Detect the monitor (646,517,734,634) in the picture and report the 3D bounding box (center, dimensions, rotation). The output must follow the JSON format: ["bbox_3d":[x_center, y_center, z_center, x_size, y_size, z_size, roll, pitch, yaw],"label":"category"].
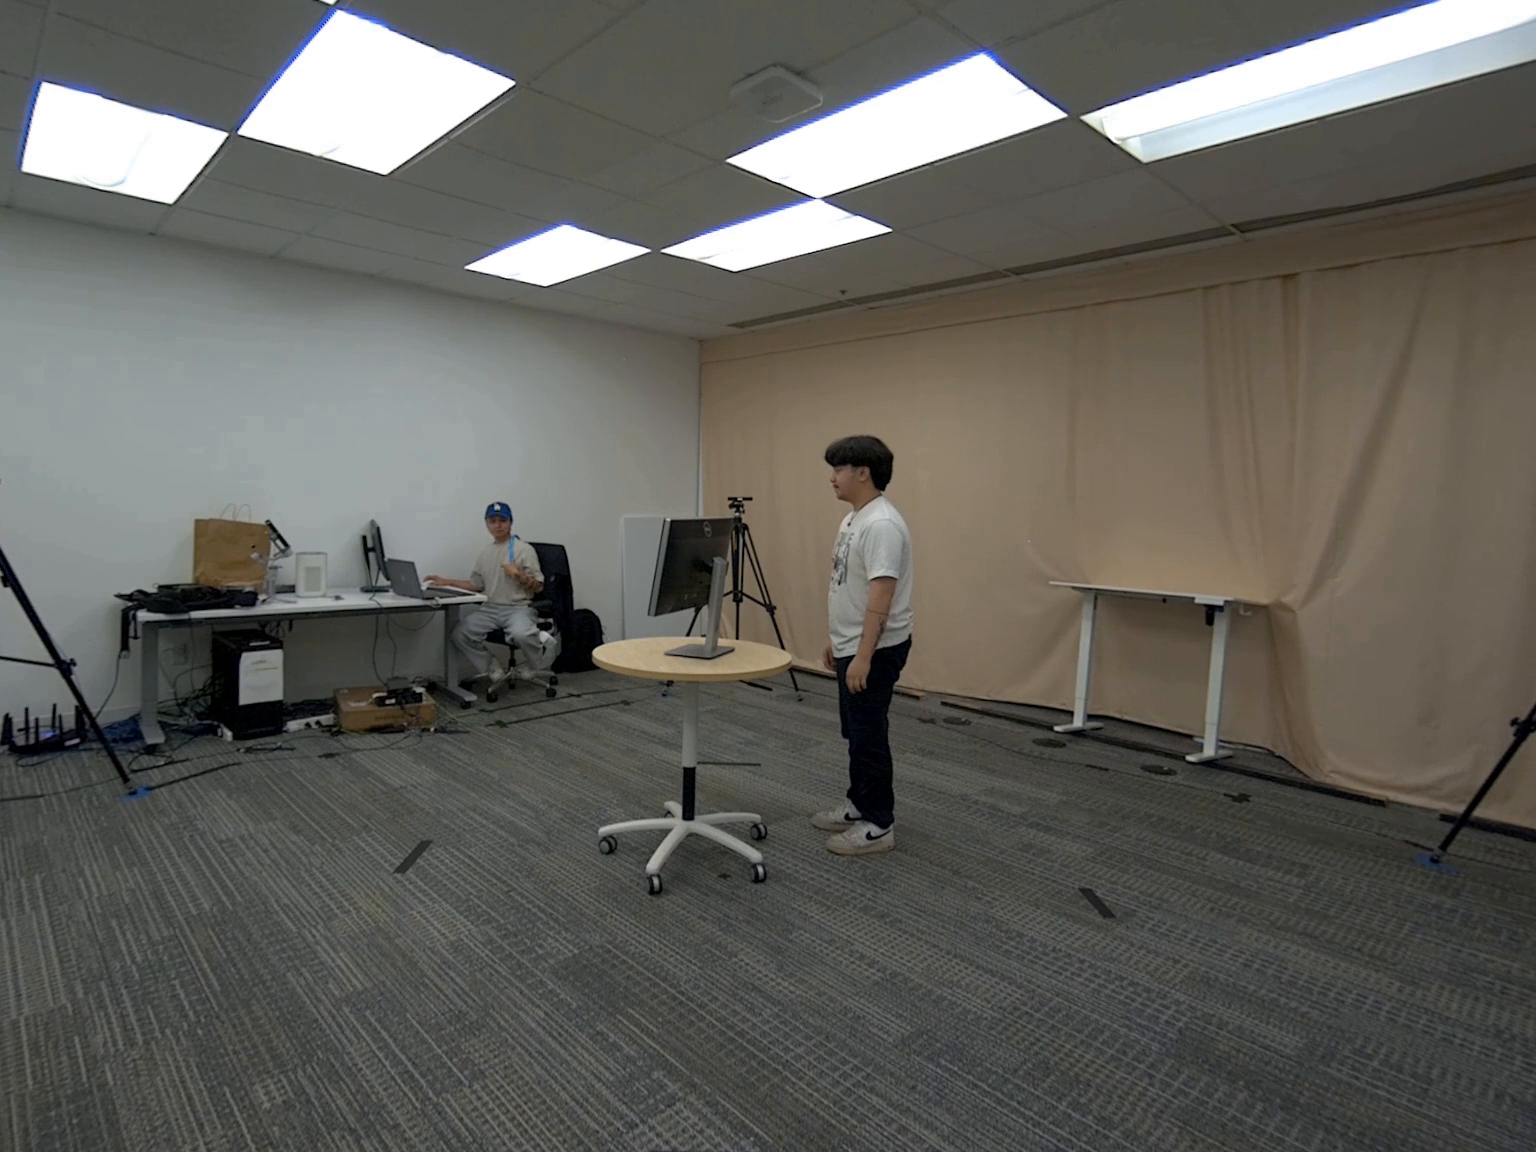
[{"bbox_3d":[-0.234,0.046,3.241,0.214,0.552,0.556,7,6,22],"label":"monitor"}]
